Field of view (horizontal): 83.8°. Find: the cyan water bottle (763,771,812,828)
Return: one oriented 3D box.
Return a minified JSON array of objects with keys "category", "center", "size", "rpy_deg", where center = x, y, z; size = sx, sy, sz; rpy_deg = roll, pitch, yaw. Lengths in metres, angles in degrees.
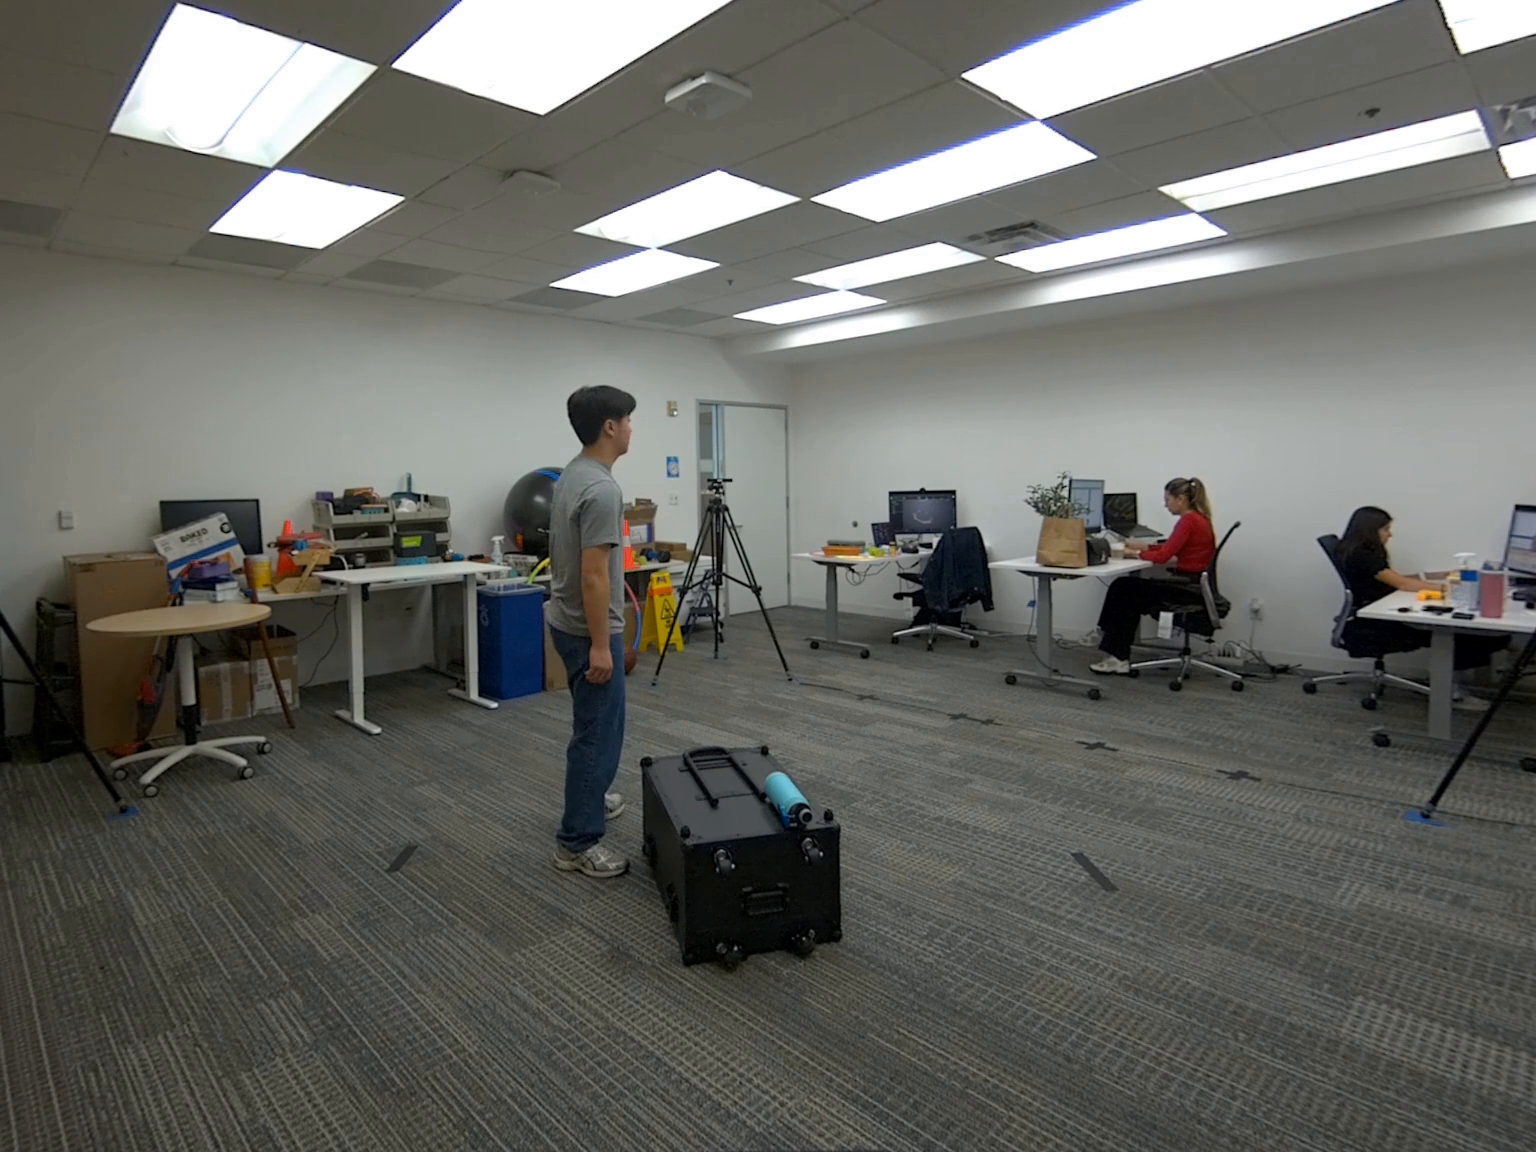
[{"category":"cyan water bottle","center":[0.065,0.693,2.631],"size":[0.091,0.092,0.288],"rpy_deg":[-2,7,-13]}]
